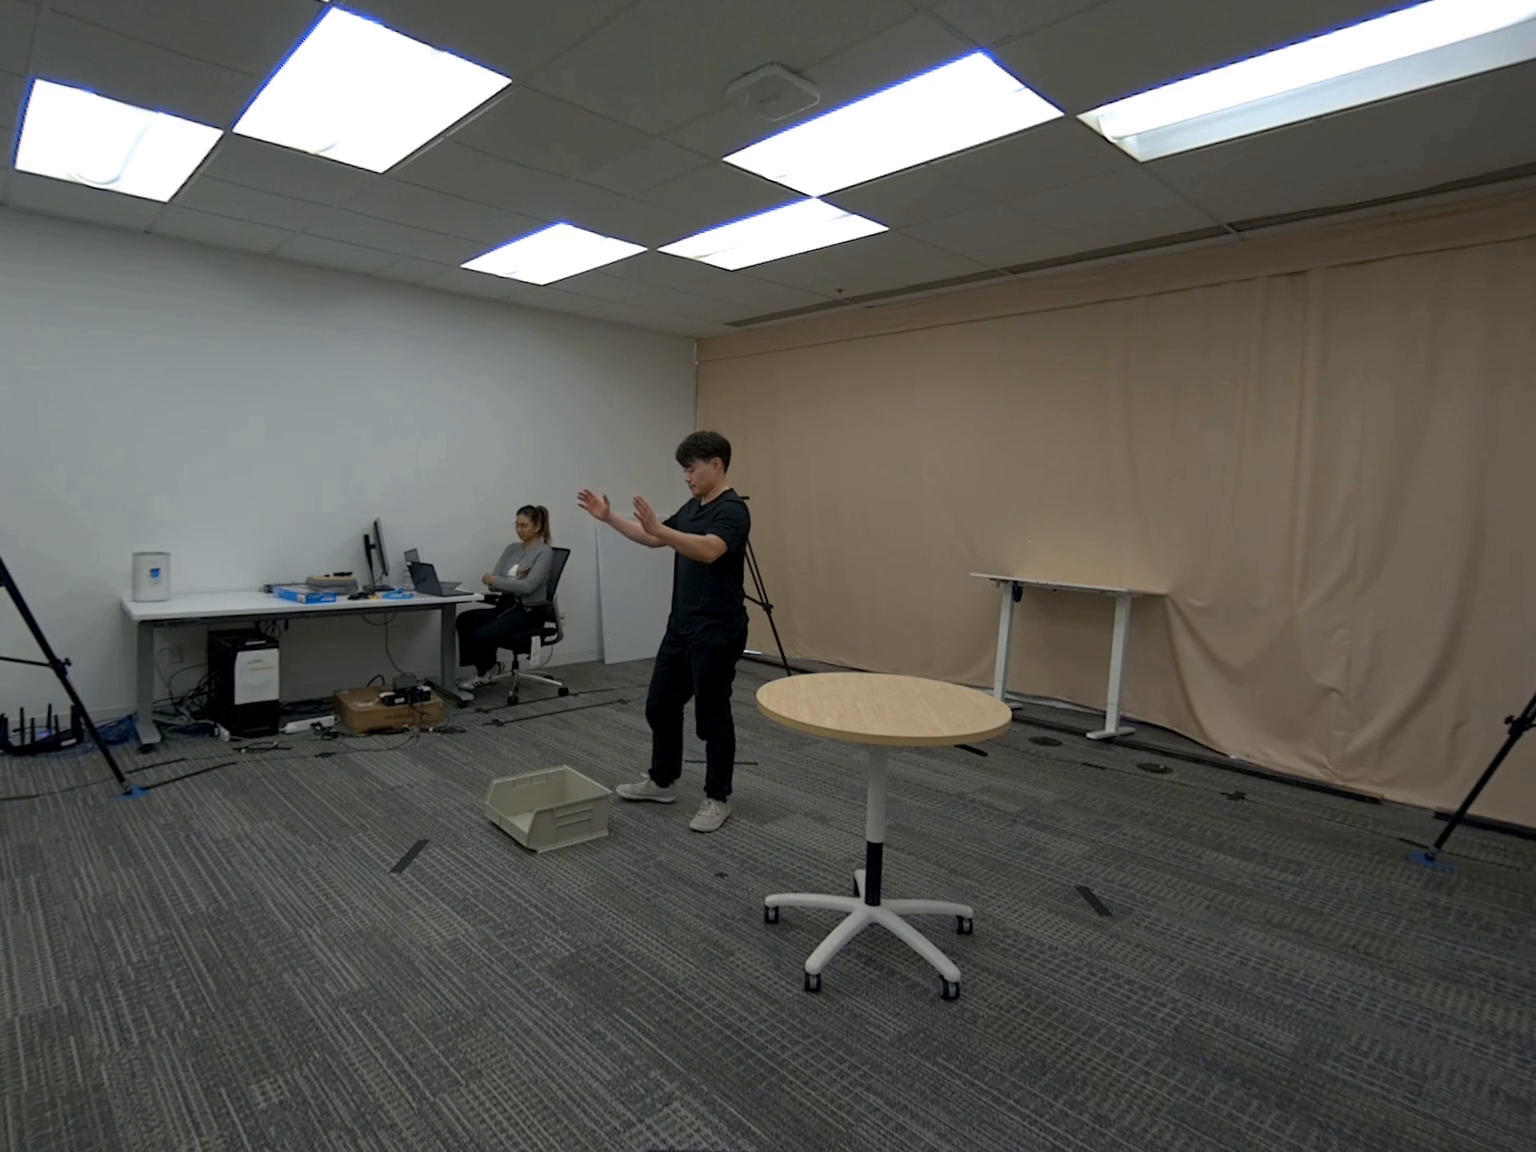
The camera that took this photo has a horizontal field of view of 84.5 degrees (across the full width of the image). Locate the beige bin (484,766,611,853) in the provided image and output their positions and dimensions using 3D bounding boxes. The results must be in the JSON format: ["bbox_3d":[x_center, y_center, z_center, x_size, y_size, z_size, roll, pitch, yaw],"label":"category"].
[{"bbox_3d":[-0.922,0.964,3.490,0.369,0.188,0.433,-2,5,-40],"label":"beige bin"}]
